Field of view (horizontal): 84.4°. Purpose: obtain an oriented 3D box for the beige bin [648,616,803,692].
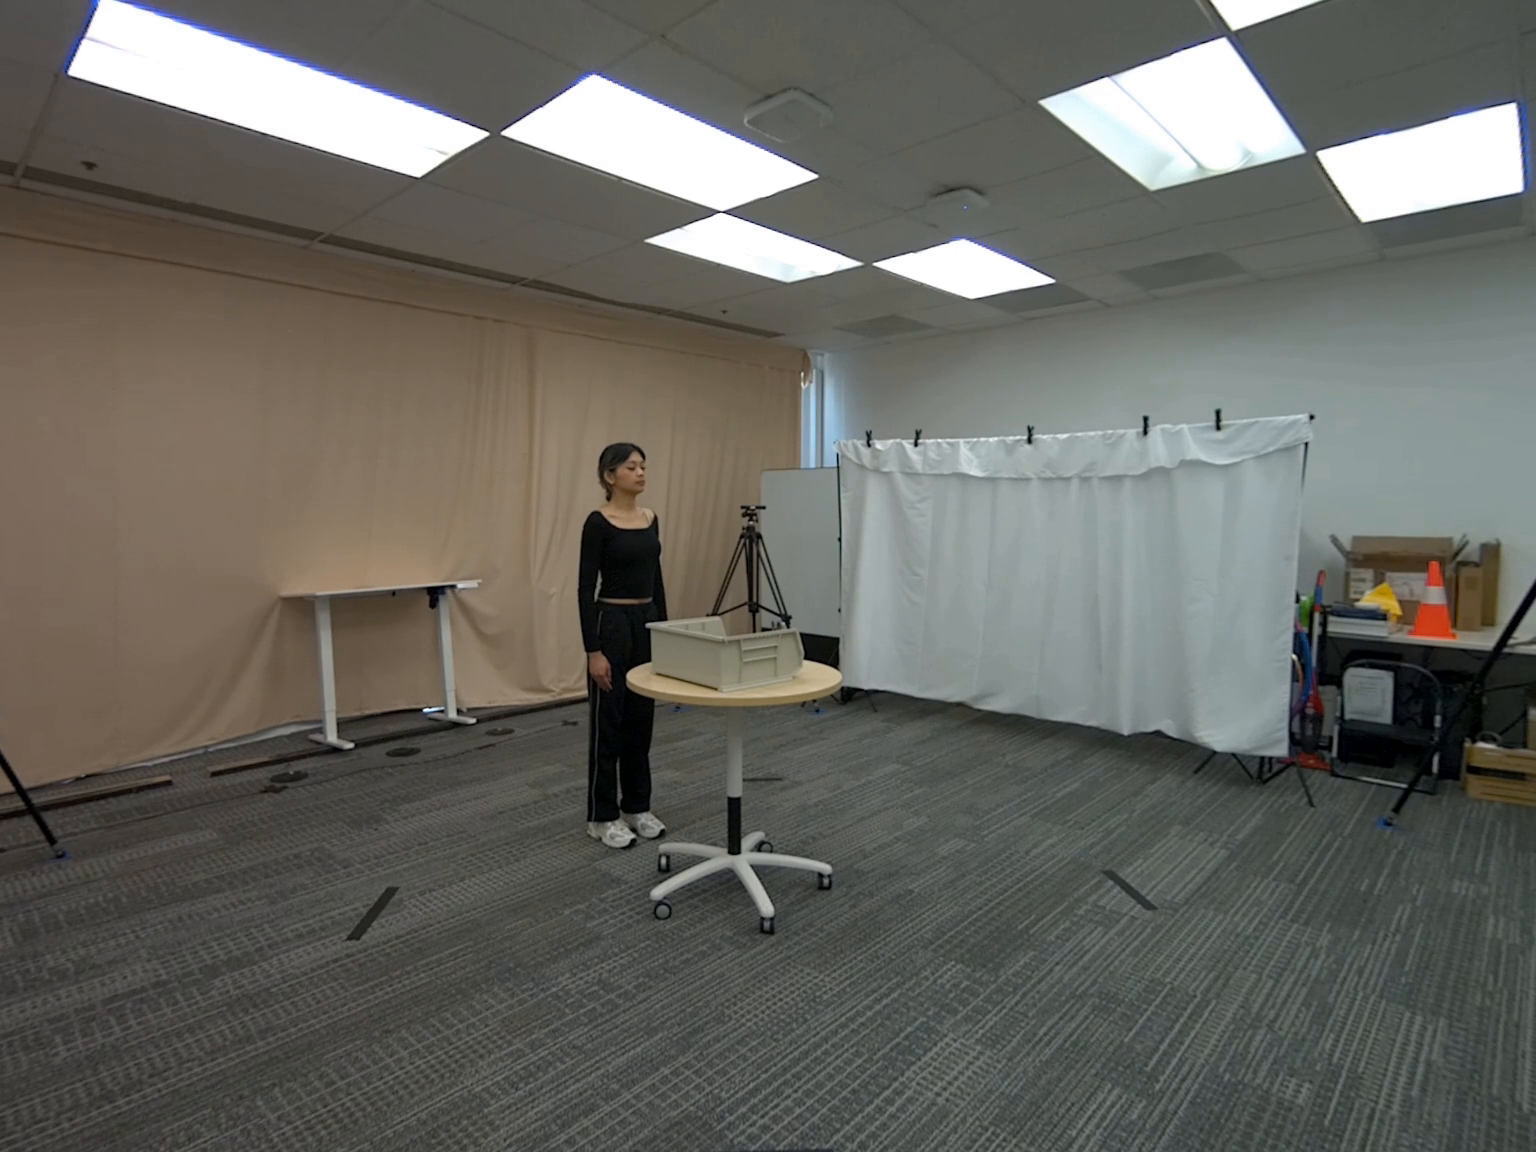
[{"bbox_3d":[-0.152,0.265,2.961,0.366,0.188,0.436,-5,7,-42],"label":"beige bin"}]
